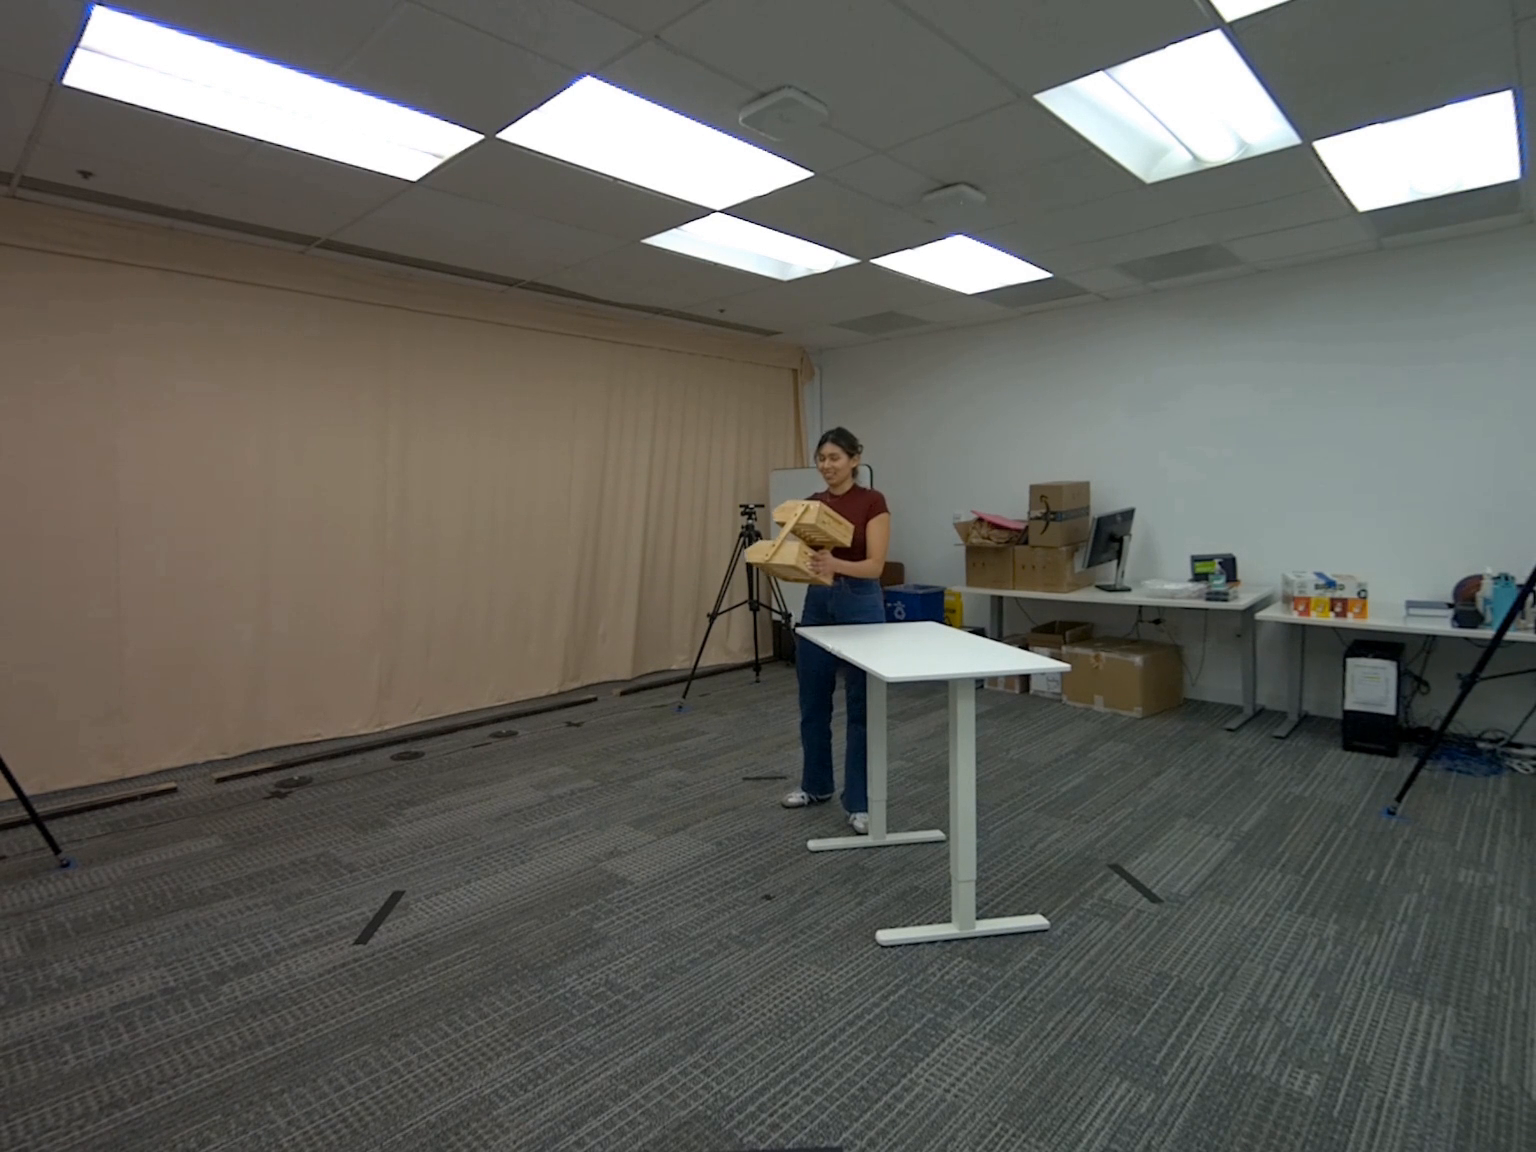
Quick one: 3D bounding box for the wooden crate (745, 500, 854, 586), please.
[{"bbox_3d":[0.123,-0.134,3.407,0.312,0.274,0.313,4,-14,36],"label":"wooden crate"}]
